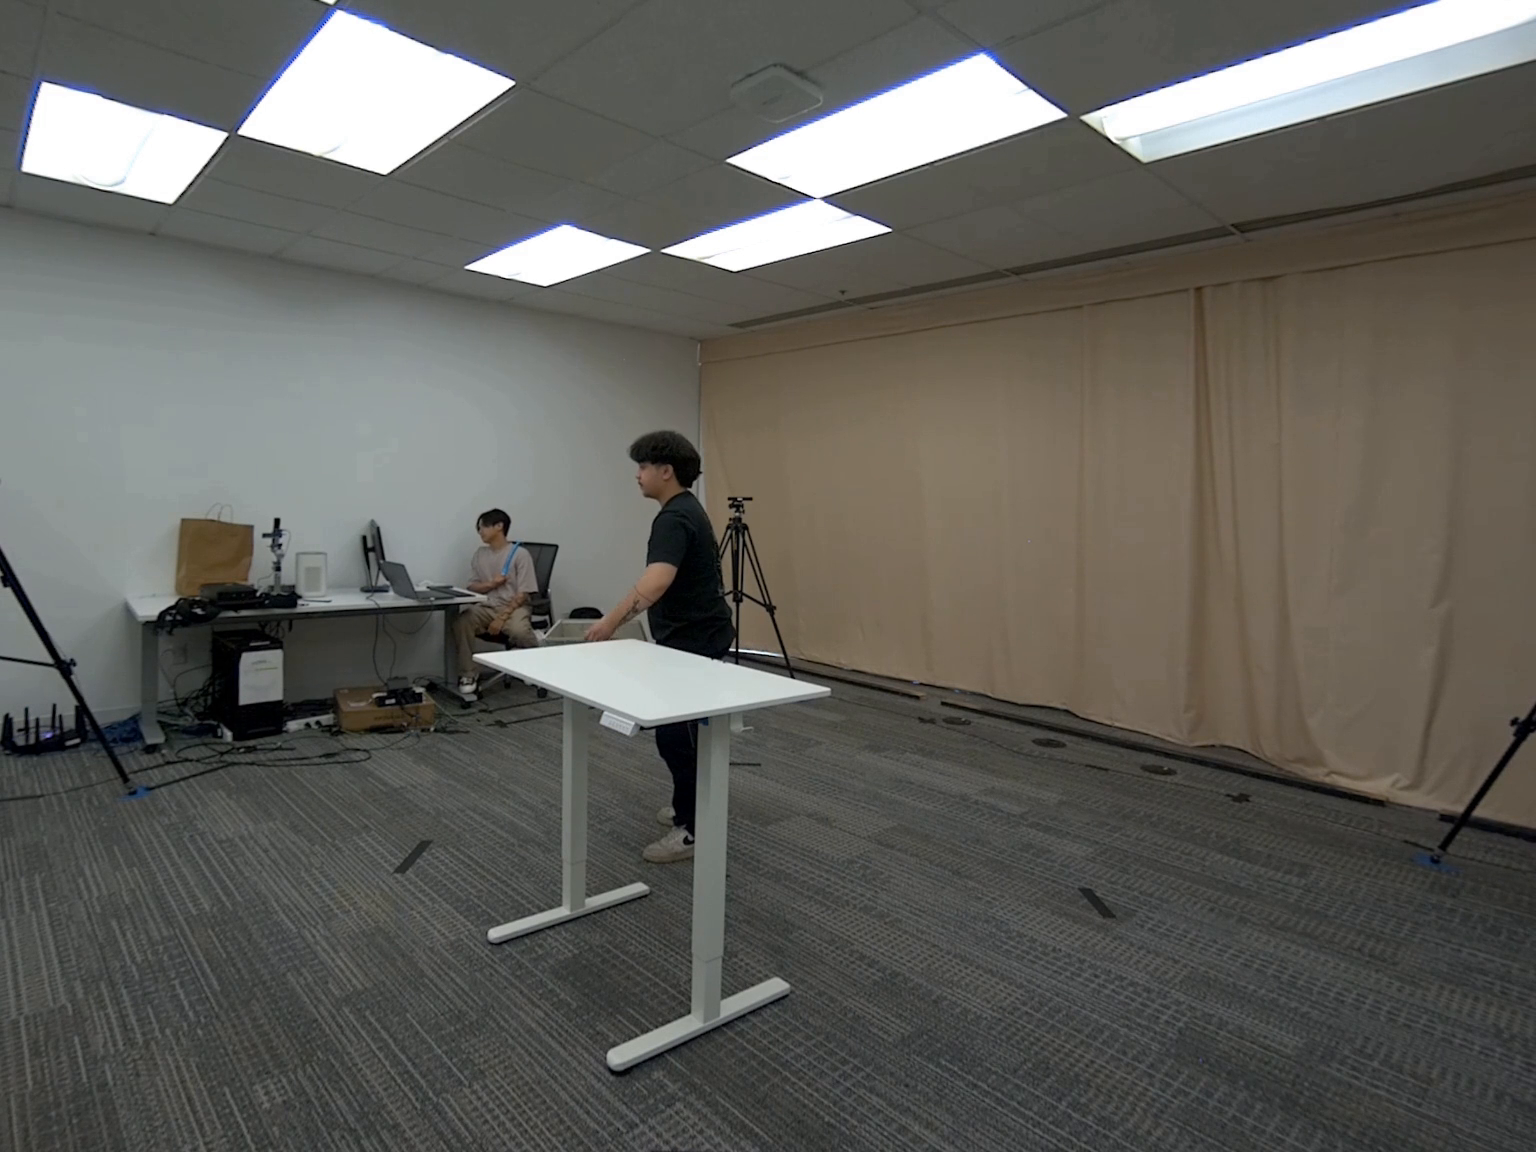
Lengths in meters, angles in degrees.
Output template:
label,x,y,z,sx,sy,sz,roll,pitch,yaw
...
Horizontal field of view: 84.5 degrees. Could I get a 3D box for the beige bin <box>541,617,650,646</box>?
label,x,y,z,sx,sy,sz,roll,pitch,yaw
beige bin,-0.681,0.299,3.401,0.376,0.188,0.426,-2,6,-6
